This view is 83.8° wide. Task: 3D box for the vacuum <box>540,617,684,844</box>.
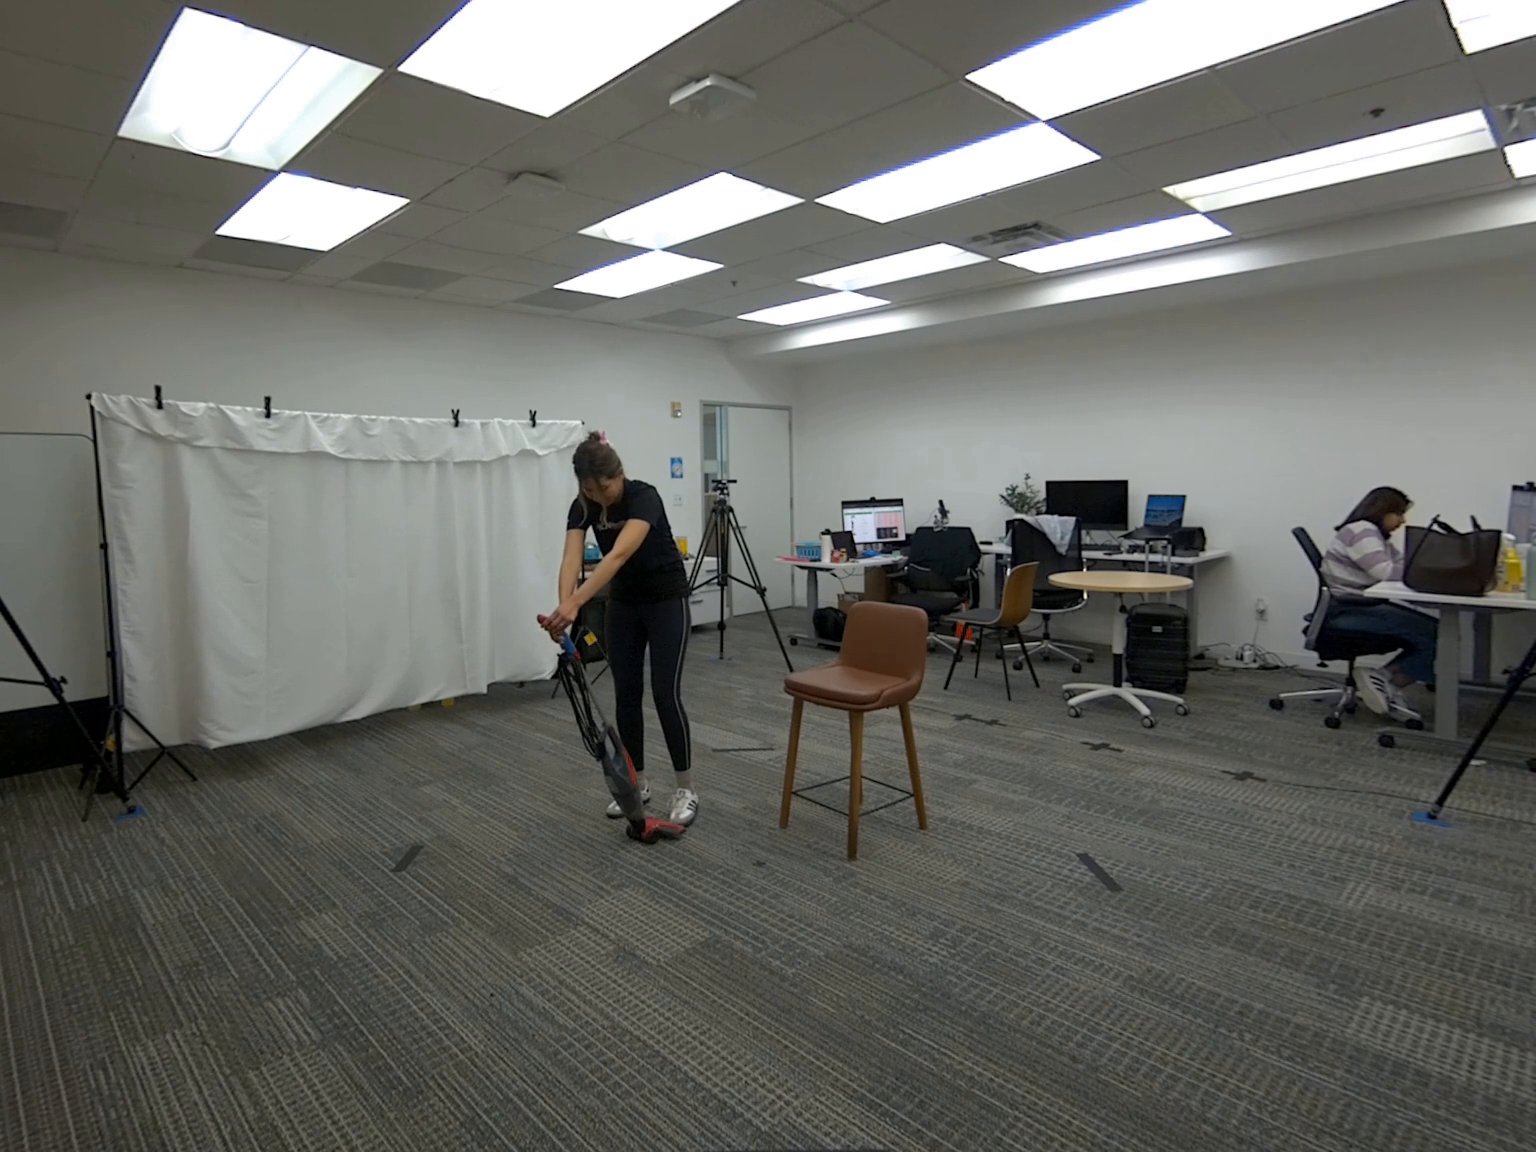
[{"bbox_3d":[-0.621,0.589,3.150,0.260,1.019,0.144,5,37,40],"label":"vacuum"}]
